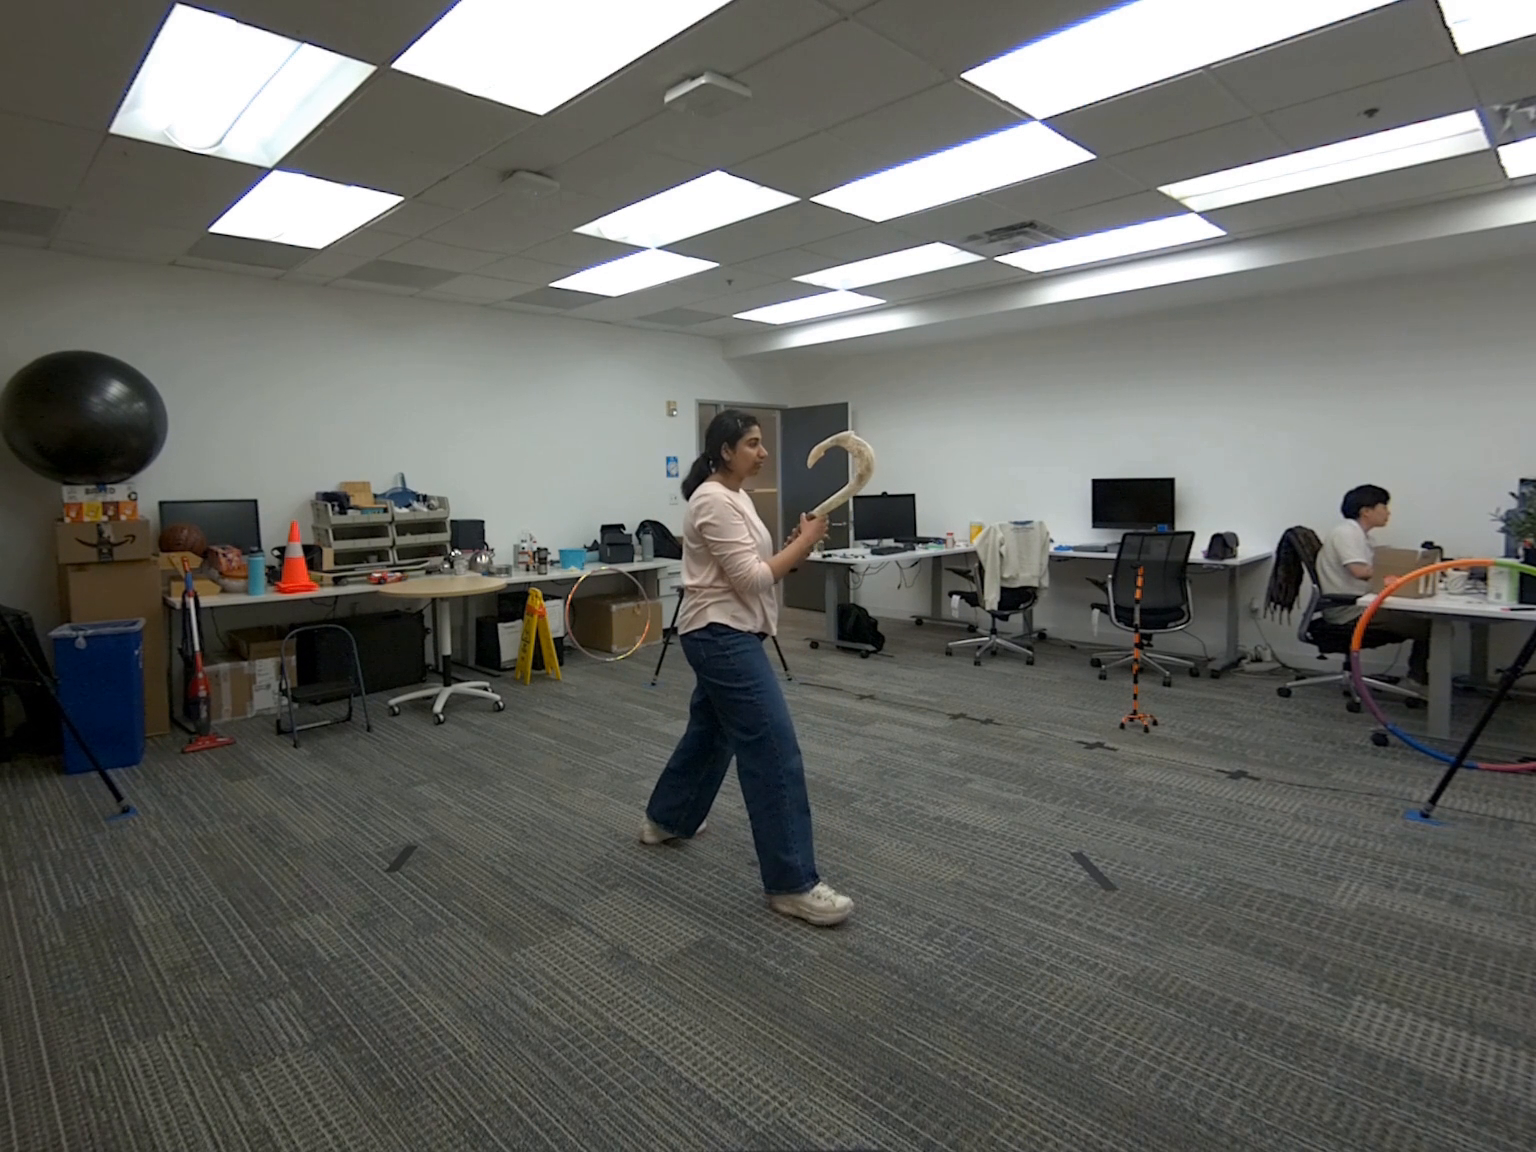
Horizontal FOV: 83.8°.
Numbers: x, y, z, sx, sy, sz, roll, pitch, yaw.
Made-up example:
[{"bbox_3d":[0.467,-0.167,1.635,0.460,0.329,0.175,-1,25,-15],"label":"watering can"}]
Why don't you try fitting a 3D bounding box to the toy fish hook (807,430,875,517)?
[{"bbox_3d":[0.173,-0.280,2.983,0.230,0.506,0.047,43,12,19],"label":"toy fish hook"}]
